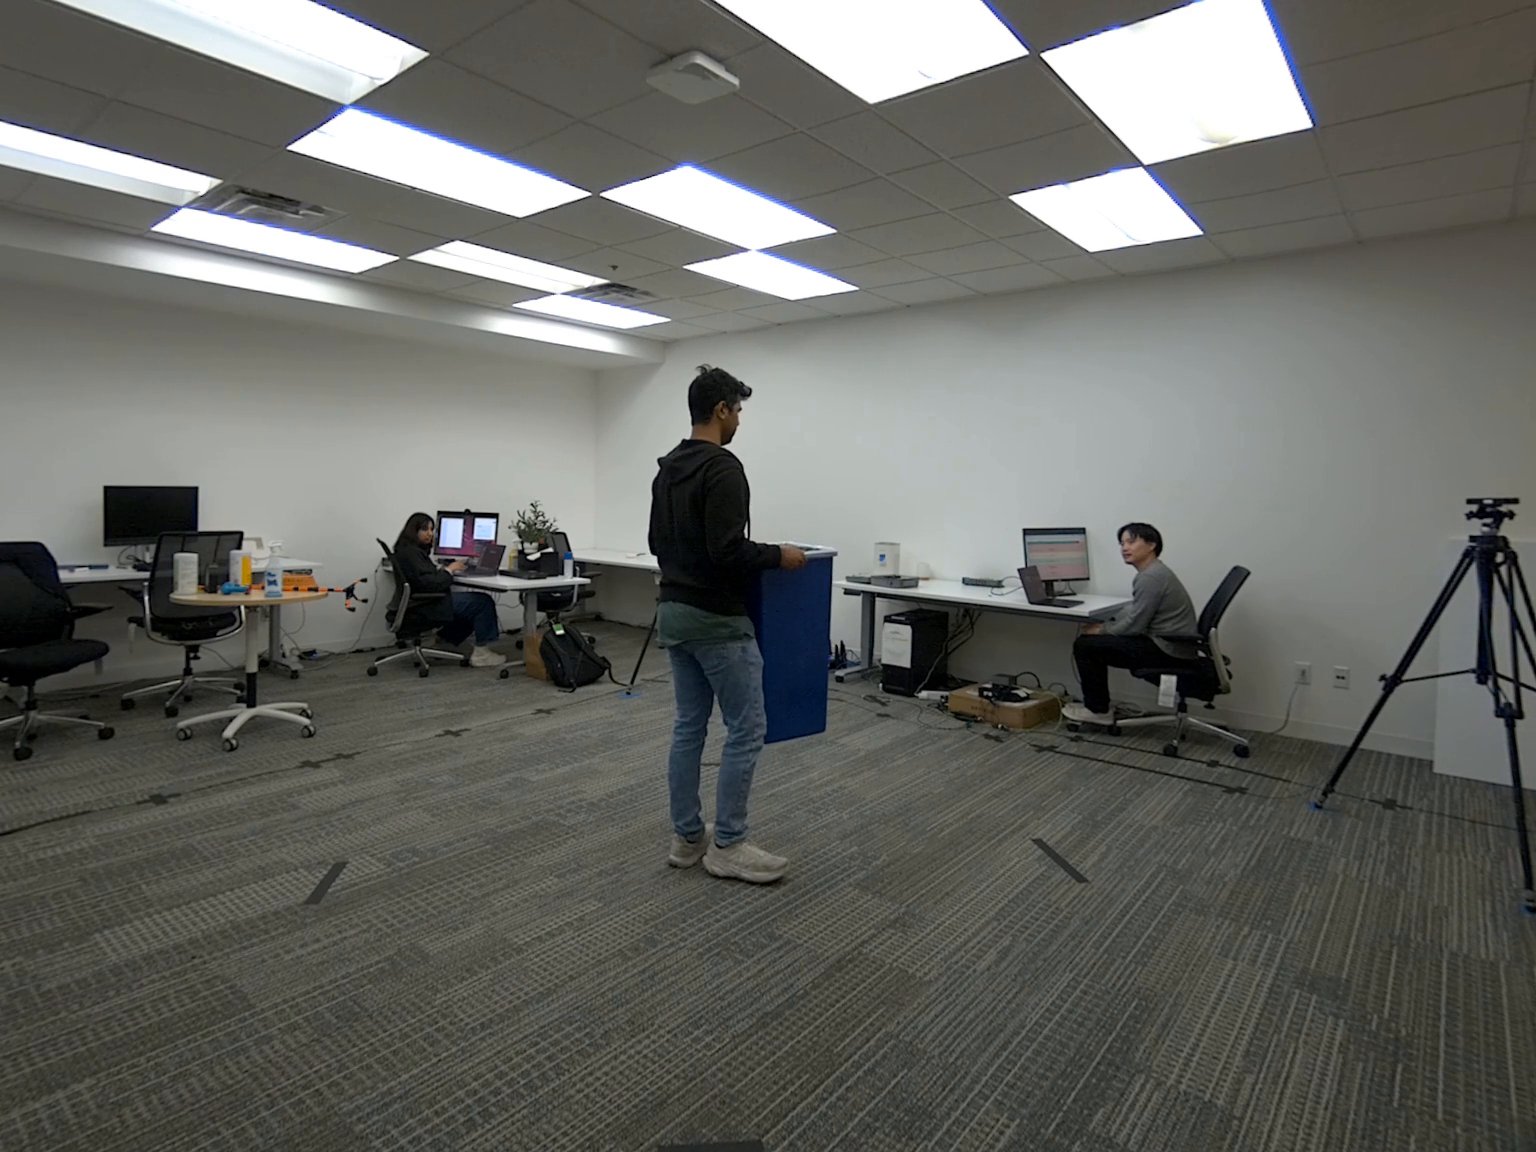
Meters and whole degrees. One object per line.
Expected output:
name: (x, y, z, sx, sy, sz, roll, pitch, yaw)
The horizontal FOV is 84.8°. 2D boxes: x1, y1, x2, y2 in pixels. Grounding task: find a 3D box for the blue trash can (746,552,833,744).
blue trash can: (0.025, 0.249, 3.315, 0.368, 0.710, 0.386, -4, 7, -33)
